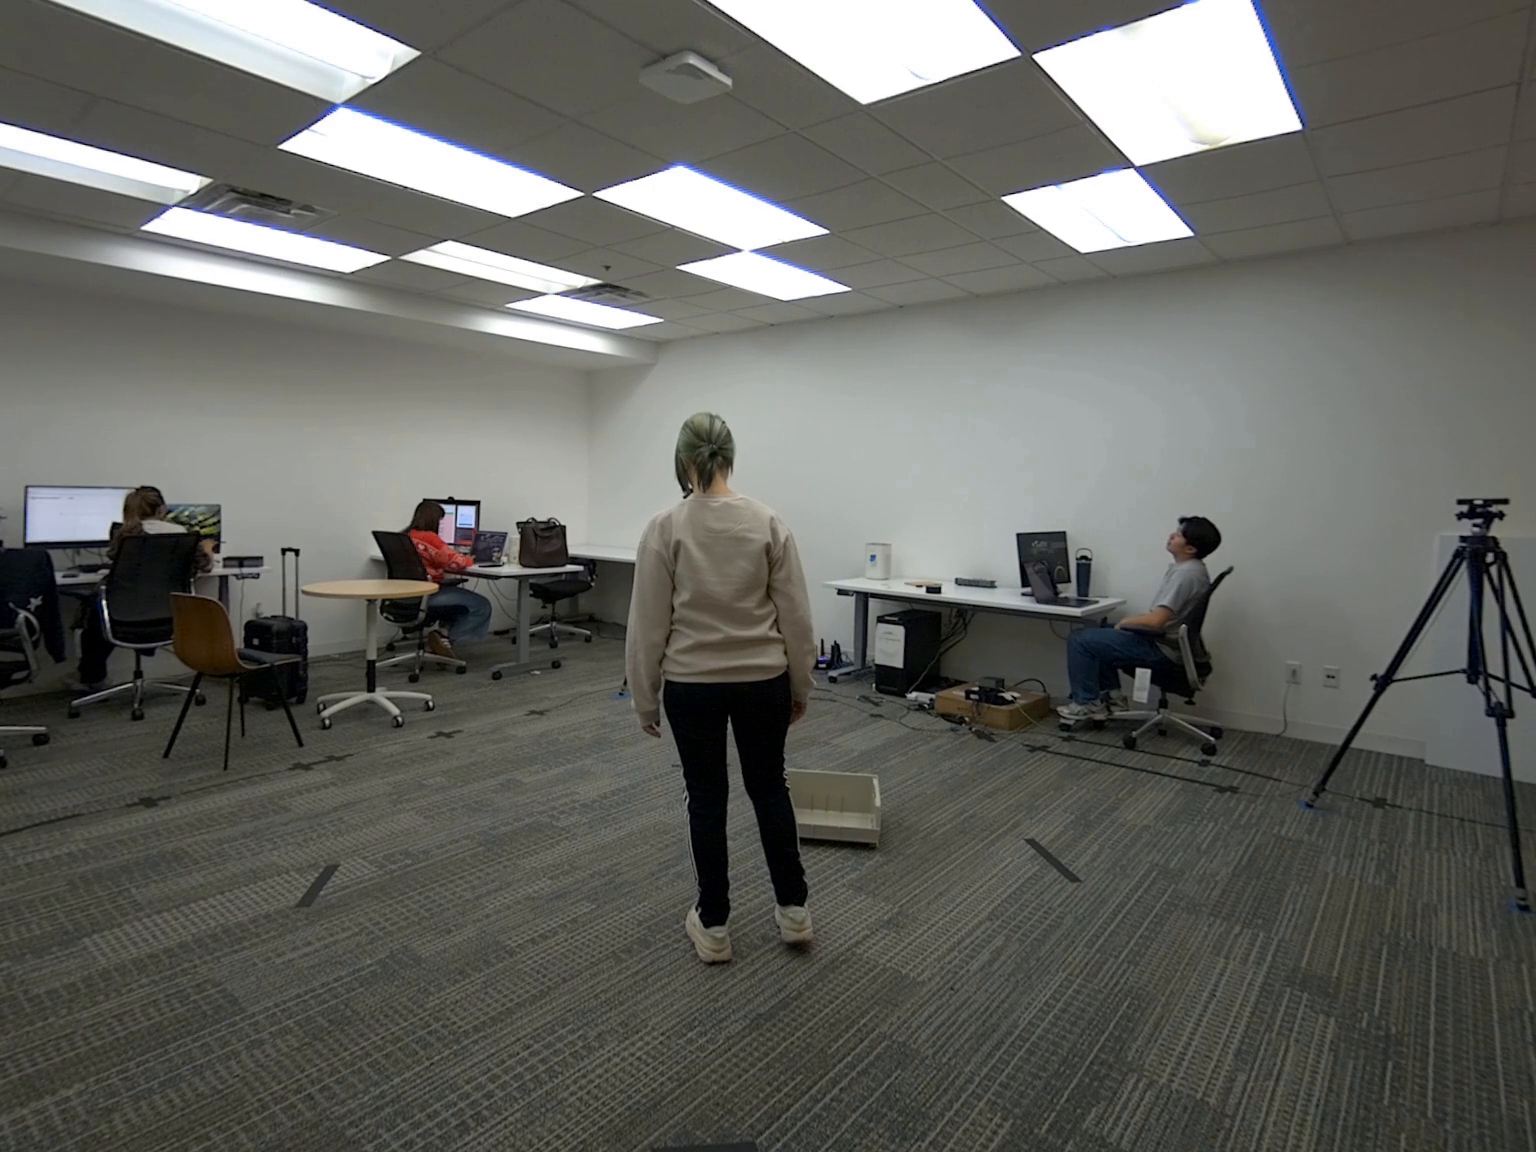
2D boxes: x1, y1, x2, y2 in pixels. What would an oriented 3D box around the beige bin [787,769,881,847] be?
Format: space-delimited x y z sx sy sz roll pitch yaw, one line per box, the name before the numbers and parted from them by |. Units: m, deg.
beige bin | 0.238 0.953 3.504 0.426 0.188 0.376 1 4 6
